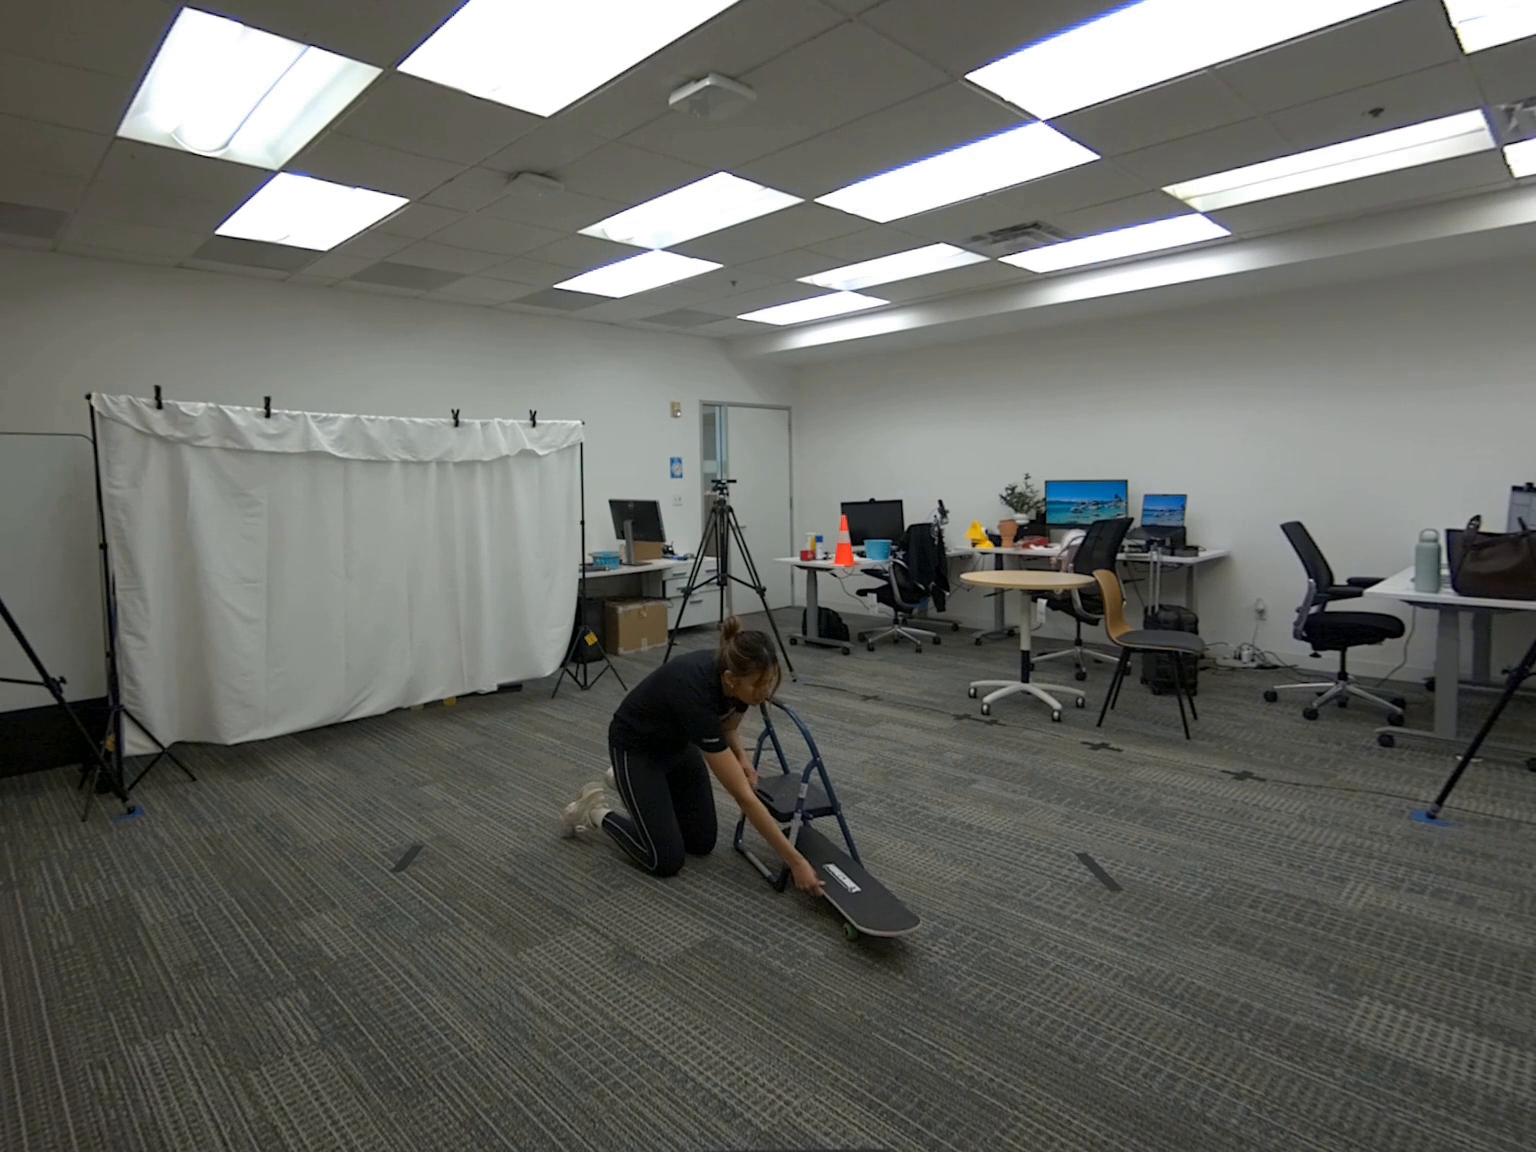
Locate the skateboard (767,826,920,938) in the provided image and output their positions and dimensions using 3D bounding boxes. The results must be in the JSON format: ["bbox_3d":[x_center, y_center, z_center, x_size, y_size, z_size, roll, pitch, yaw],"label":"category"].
[{"bbox_3d":[0.249,1.026,2.793,0.190,0.110,0.803,-5,7,-21],"label":"skateboard"}]
